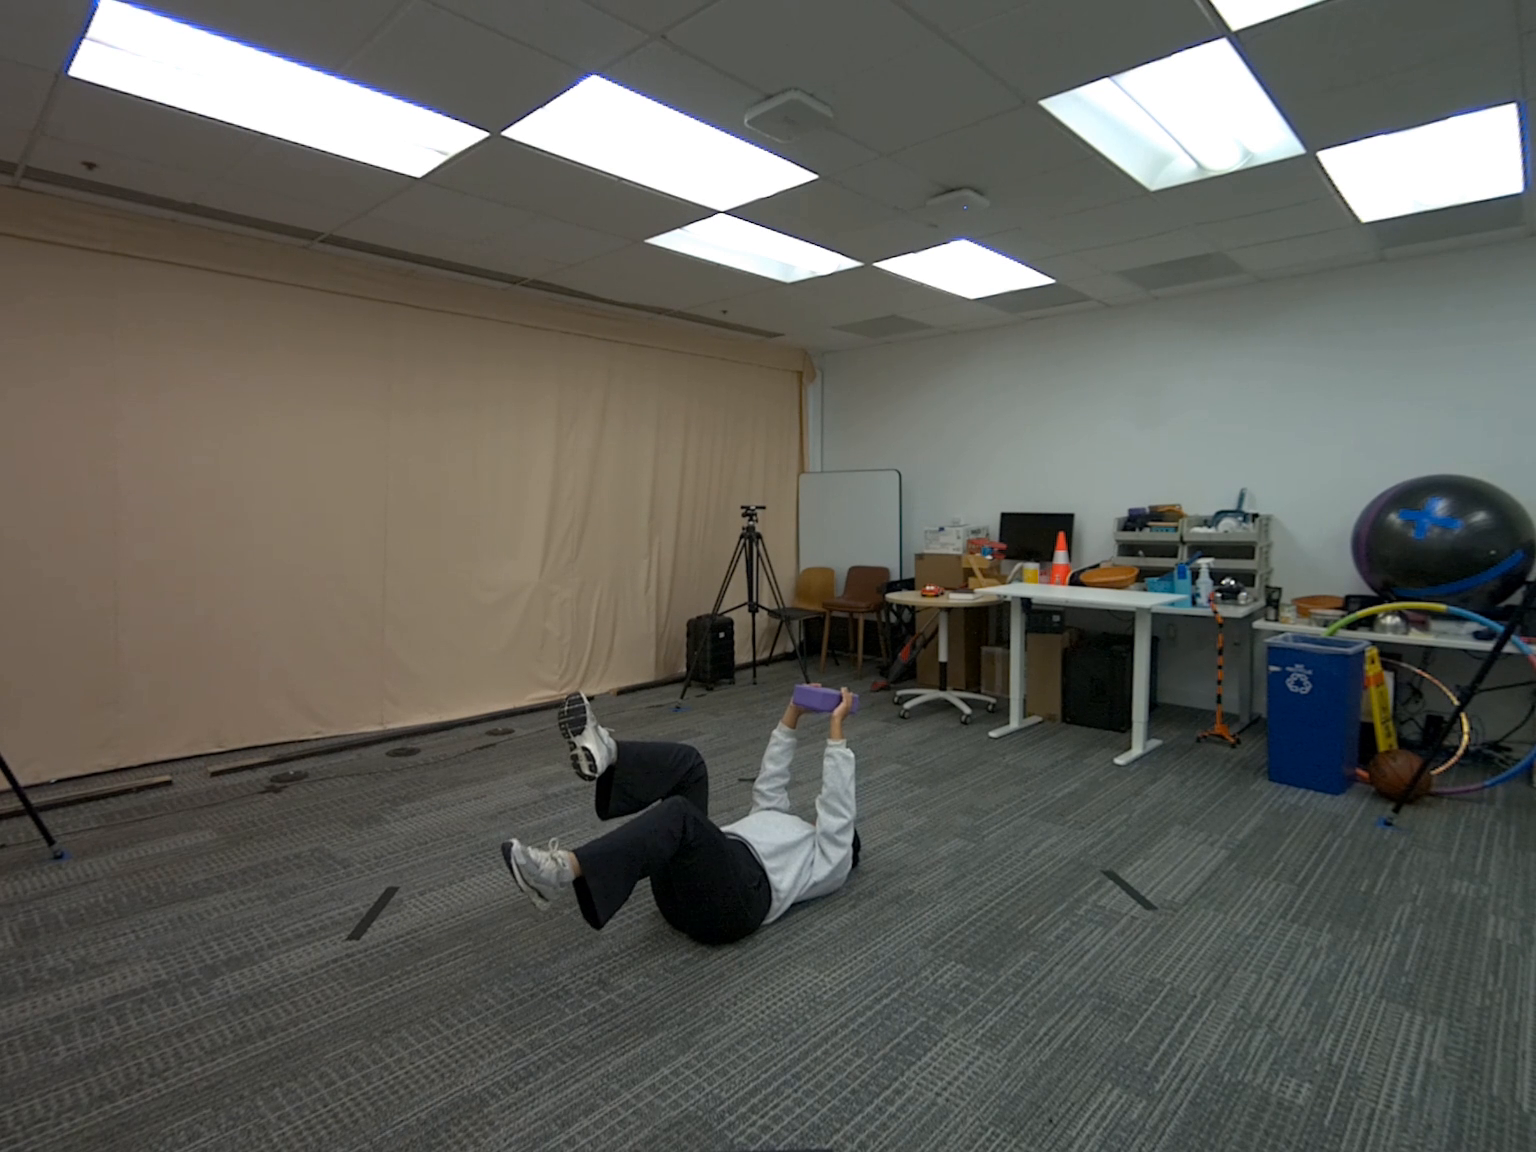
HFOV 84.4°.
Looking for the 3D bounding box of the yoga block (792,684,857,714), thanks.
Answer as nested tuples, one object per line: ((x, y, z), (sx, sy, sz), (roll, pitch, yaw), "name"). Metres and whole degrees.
((0.229, 0.472, 3.208), (0.154, 0.076, 0.221), (7, -5, 41), "yoga block")
